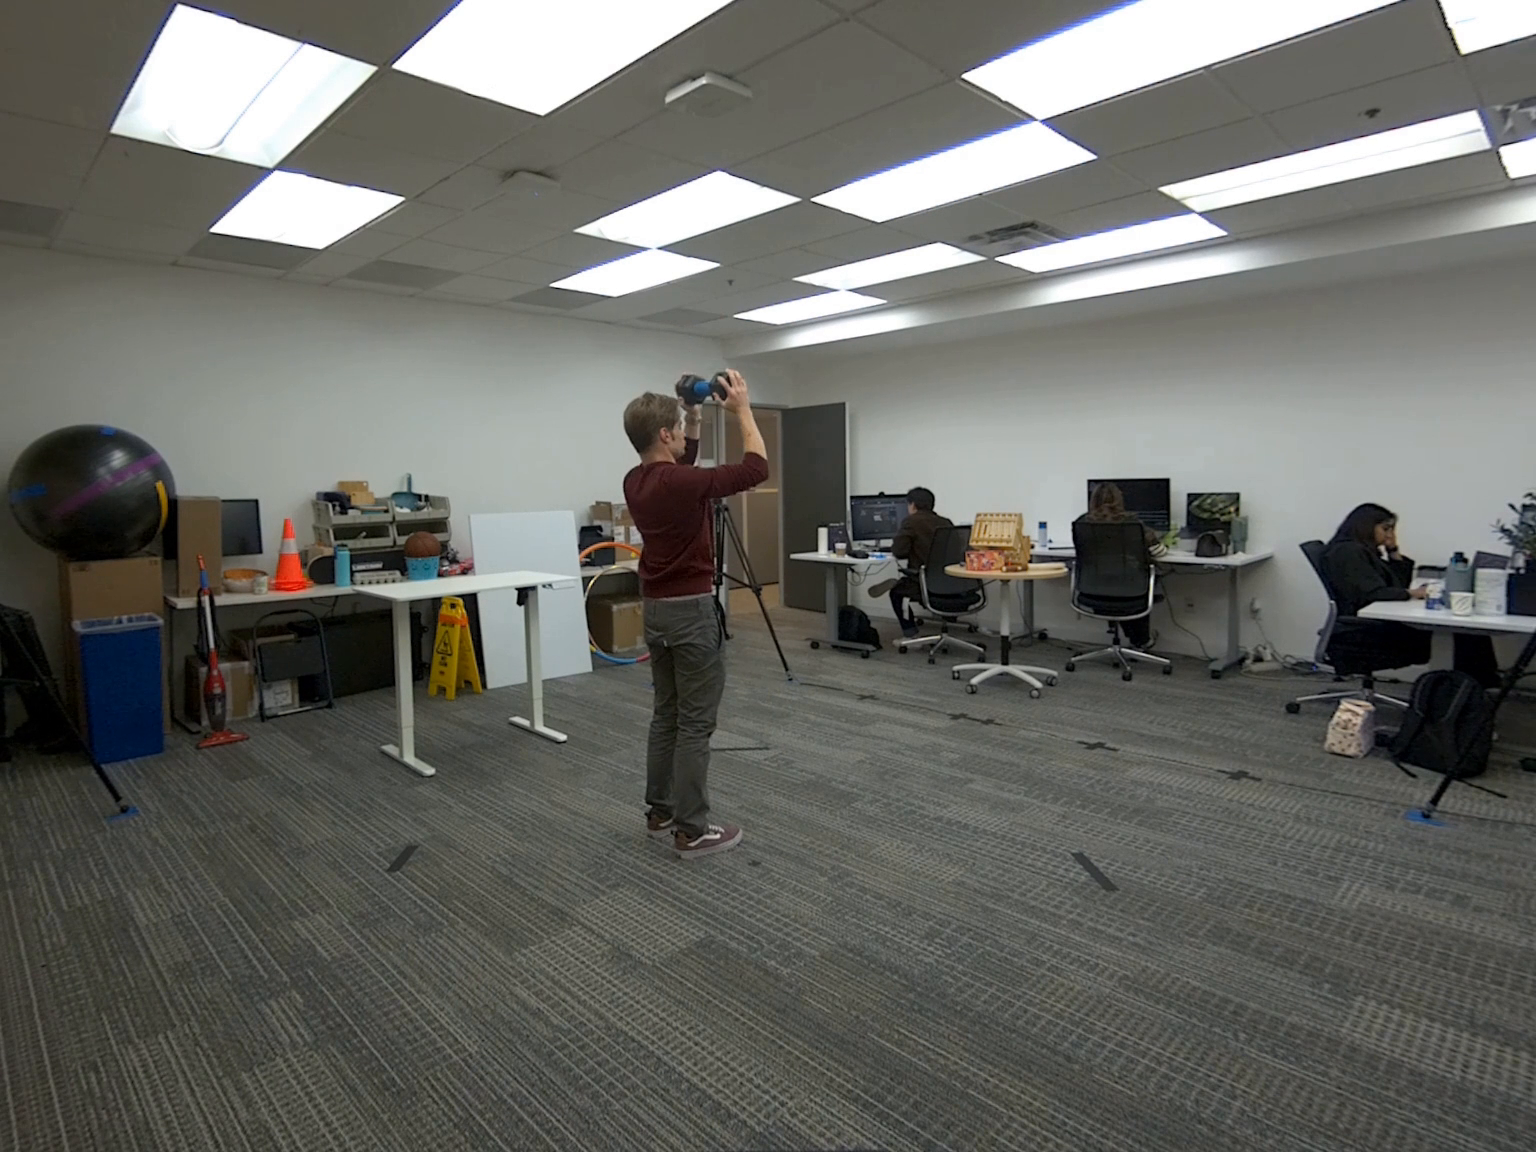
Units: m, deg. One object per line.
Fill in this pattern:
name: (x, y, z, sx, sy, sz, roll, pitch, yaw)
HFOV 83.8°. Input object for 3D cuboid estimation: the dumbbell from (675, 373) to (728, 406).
dumbbell: (-0.228, -0.723, 3.282, 0.107, 0.120, 0.303, -30, 26, -32)
